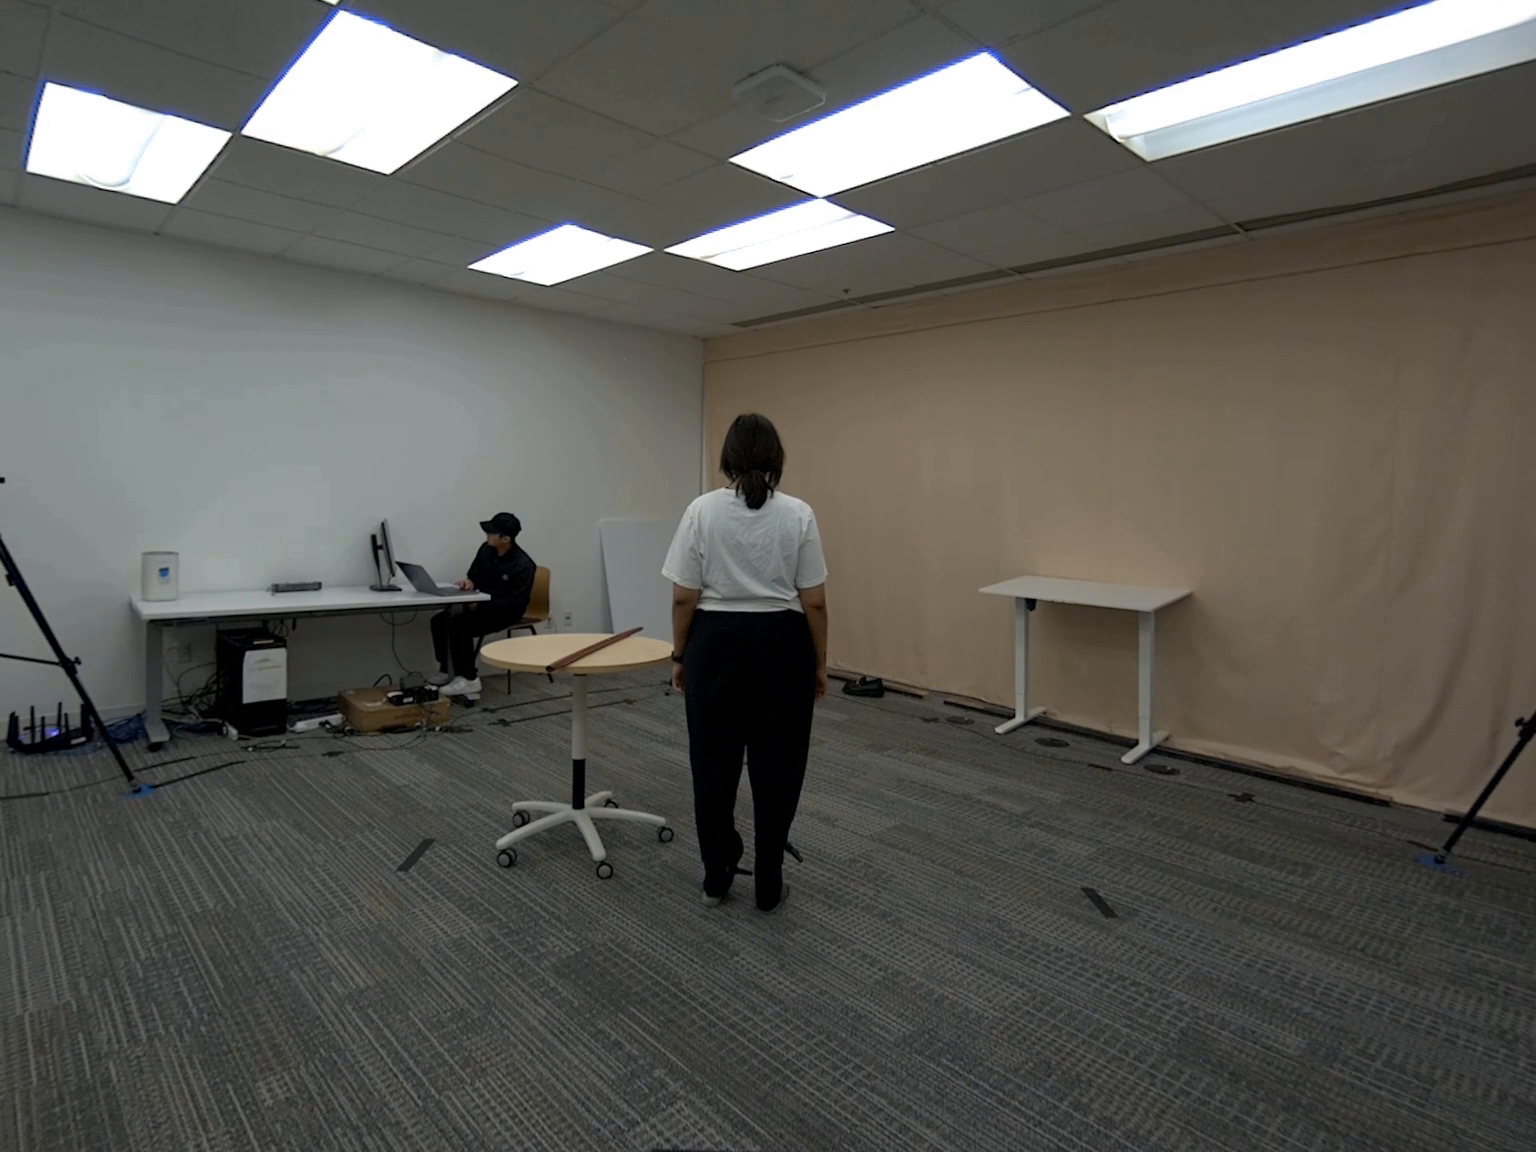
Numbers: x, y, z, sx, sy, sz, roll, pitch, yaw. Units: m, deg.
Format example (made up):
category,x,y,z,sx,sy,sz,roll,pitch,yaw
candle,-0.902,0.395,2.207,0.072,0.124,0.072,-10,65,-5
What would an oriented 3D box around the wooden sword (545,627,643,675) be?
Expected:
category,x,y,z,sx,sy,sz,roll,pitch,yaw
wooden sword,-0.659,0.268,3.233,0.051,0.024,1.018,-30,-1,9
